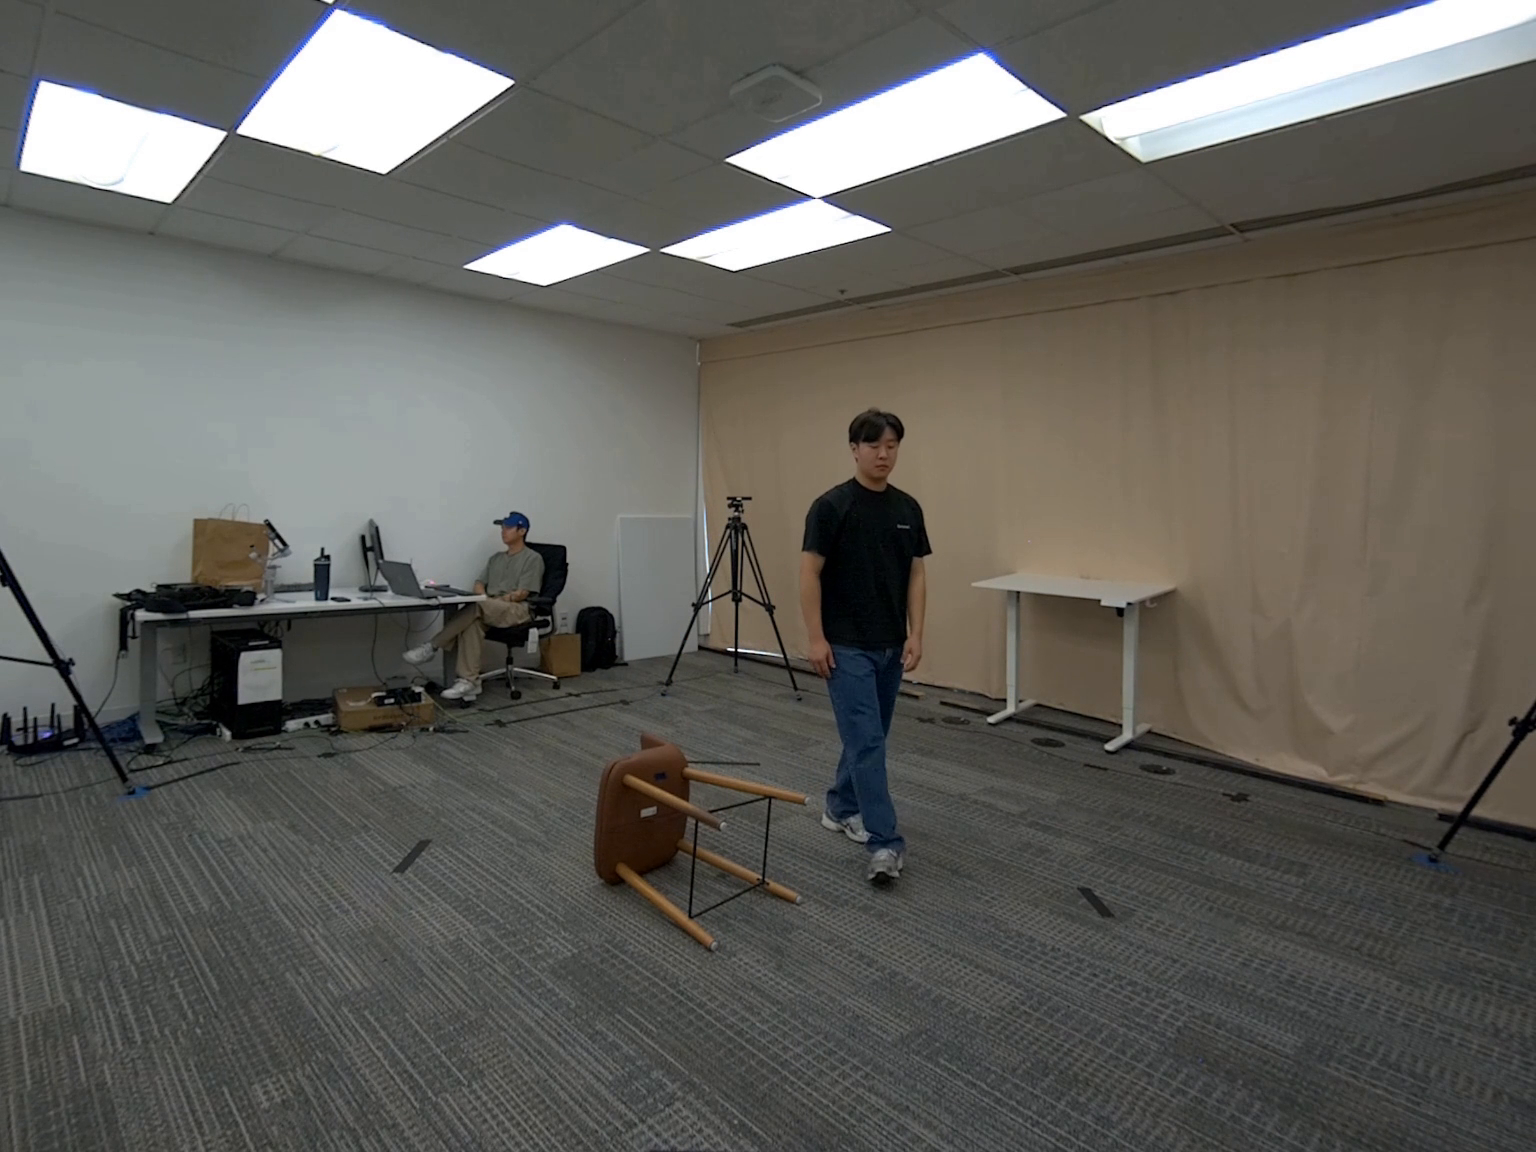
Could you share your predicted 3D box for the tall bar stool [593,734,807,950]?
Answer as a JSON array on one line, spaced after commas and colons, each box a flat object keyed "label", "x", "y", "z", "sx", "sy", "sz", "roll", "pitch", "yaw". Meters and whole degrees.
[{"label": "tall bar stool", "x": -0.344, "y": 0.894, "z": 3.024, "sx": 0.913, "sy": 0.455, "sz": 0.456, "roll": 9, "pitch": 7, "yaw": 43}]
